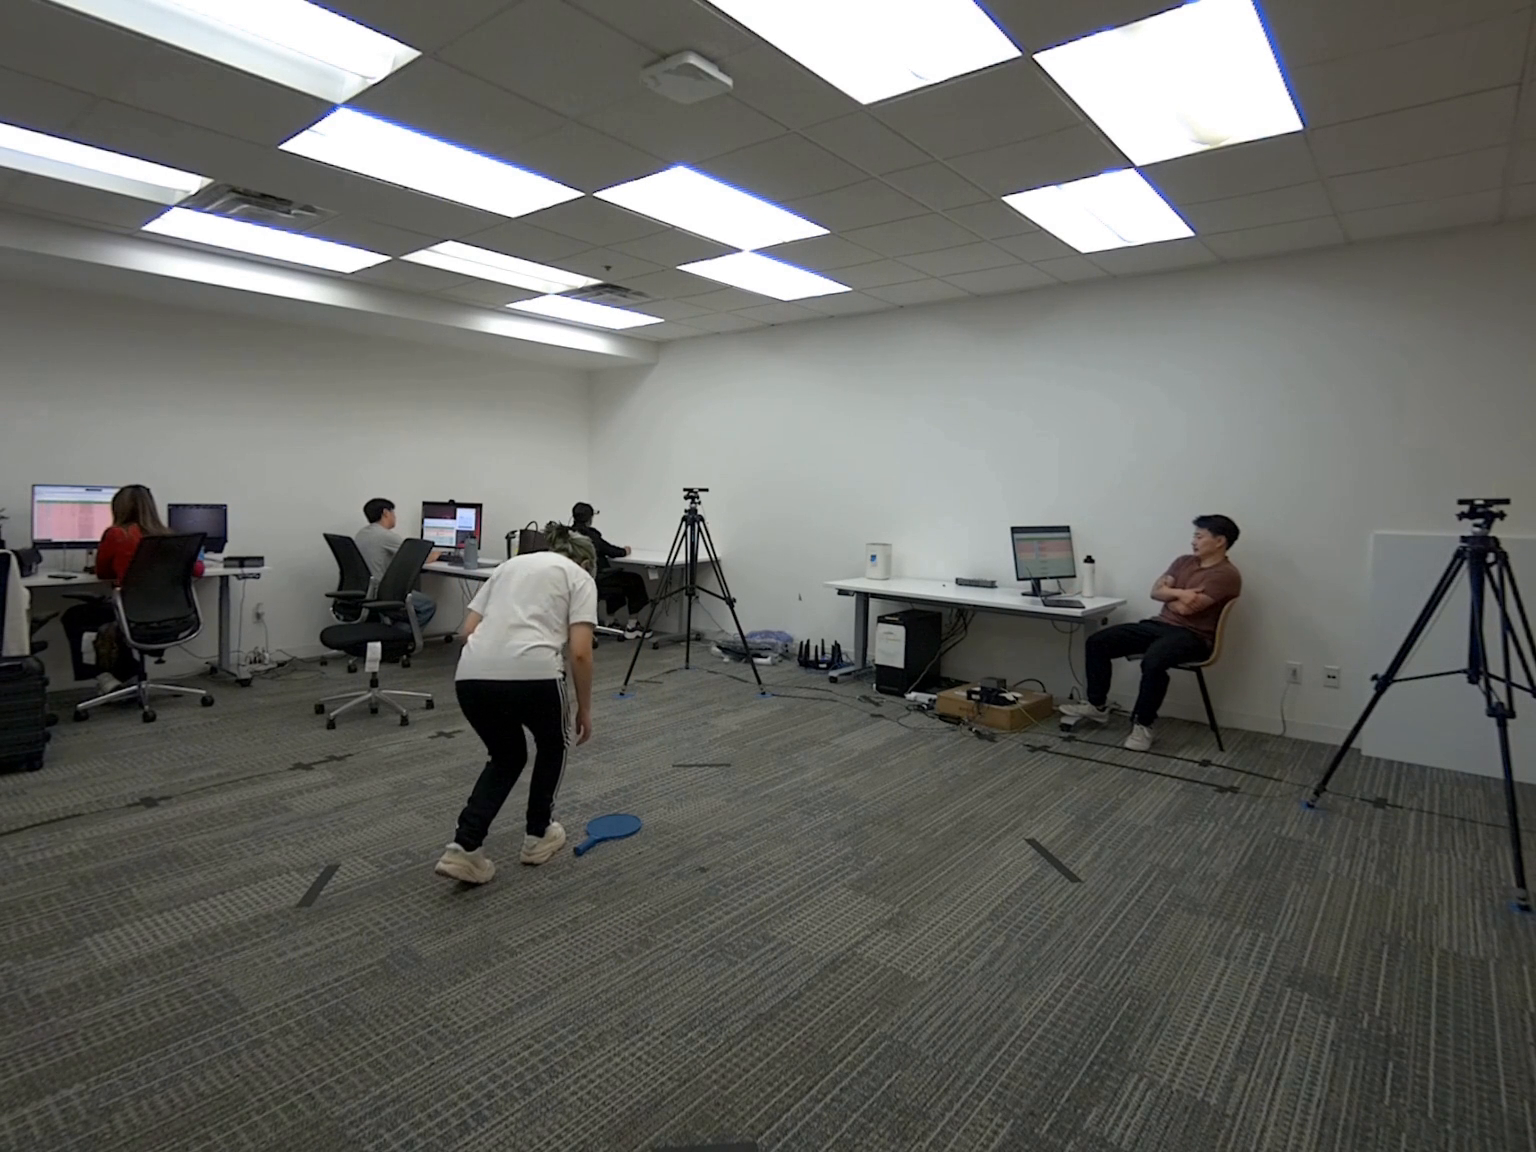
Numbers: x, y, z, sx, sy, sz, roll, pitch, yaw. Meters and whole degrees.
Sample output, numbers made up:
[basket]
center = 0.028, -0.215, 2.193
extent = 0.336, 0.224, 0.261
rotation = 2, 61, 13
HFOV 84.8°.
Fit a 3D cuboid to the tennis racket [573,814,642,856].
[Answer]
[tennis racket]
center = -0.664, 1.020, 3.396
extent = 0.218, 0.032, 0.425
rotation = 2, 4, 19
